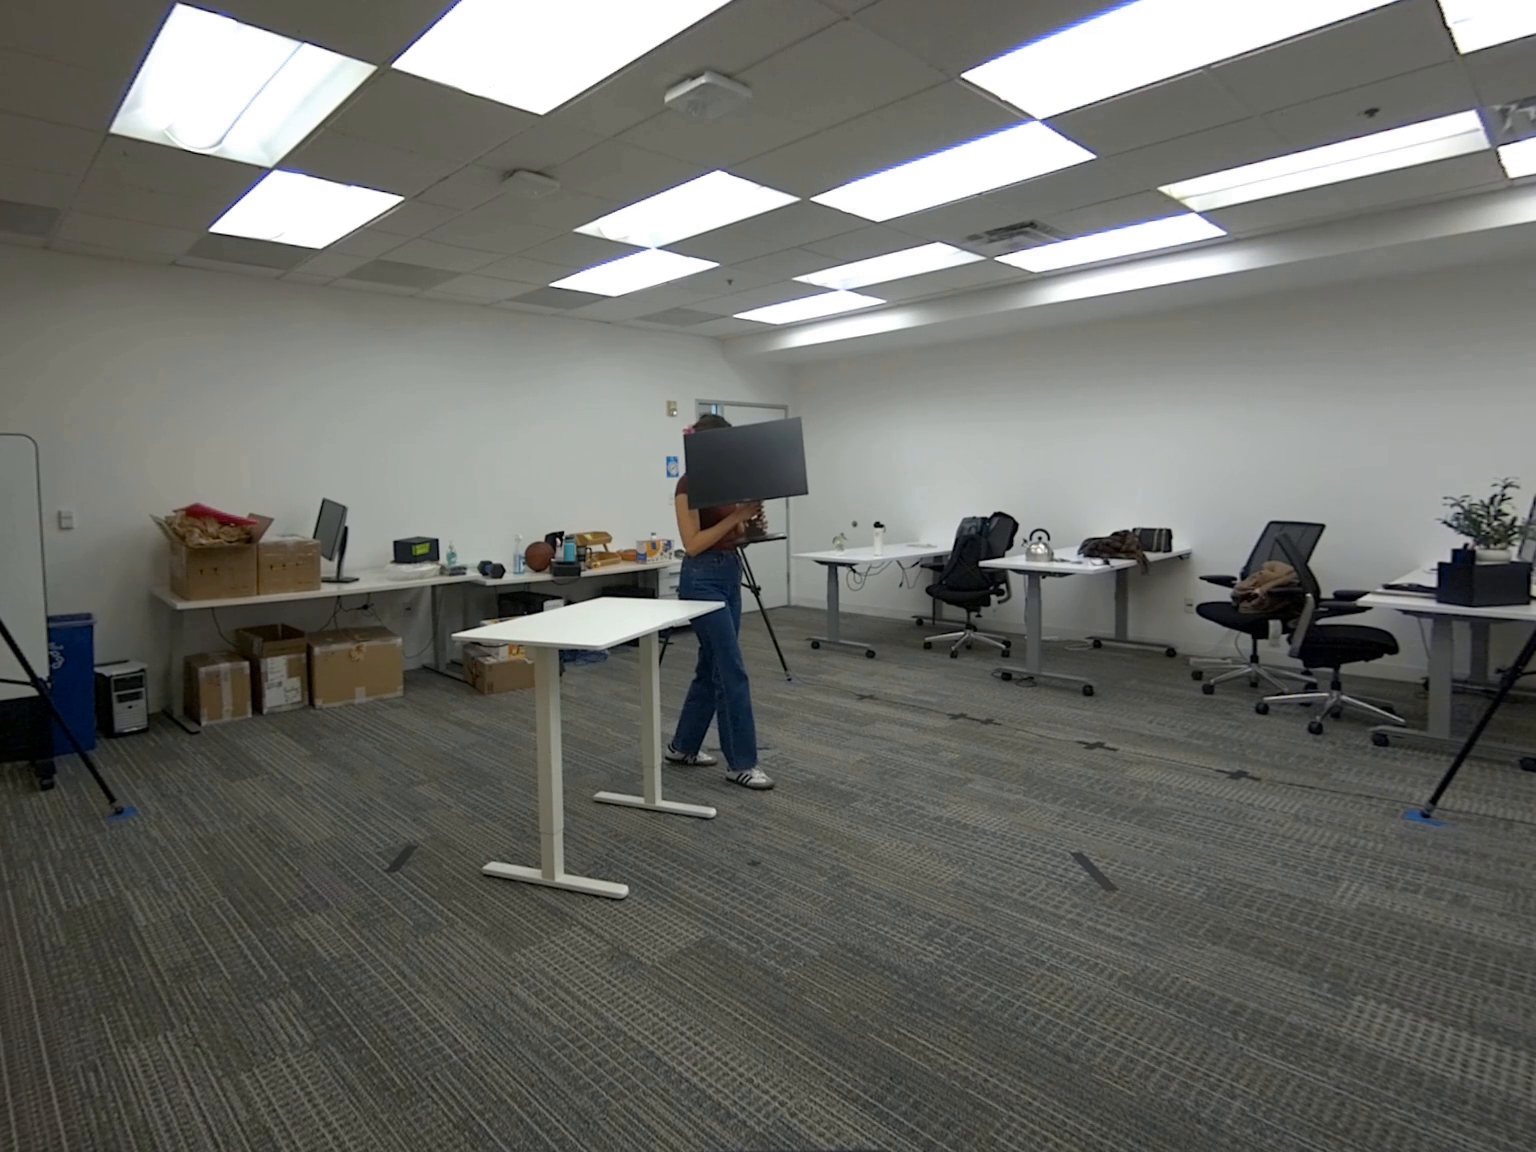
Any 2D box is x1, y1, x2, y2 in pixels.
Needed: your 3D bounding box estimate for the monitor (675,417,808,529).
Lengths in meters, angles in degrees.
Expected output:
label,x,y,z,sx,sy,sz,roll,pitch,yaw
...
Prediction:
label,x,y,z,sx,sy,sz,roll,pitch,yaw
monitor,-0.085,-0.410,3.790,0.544,0.522,0.186,-7,1,10
